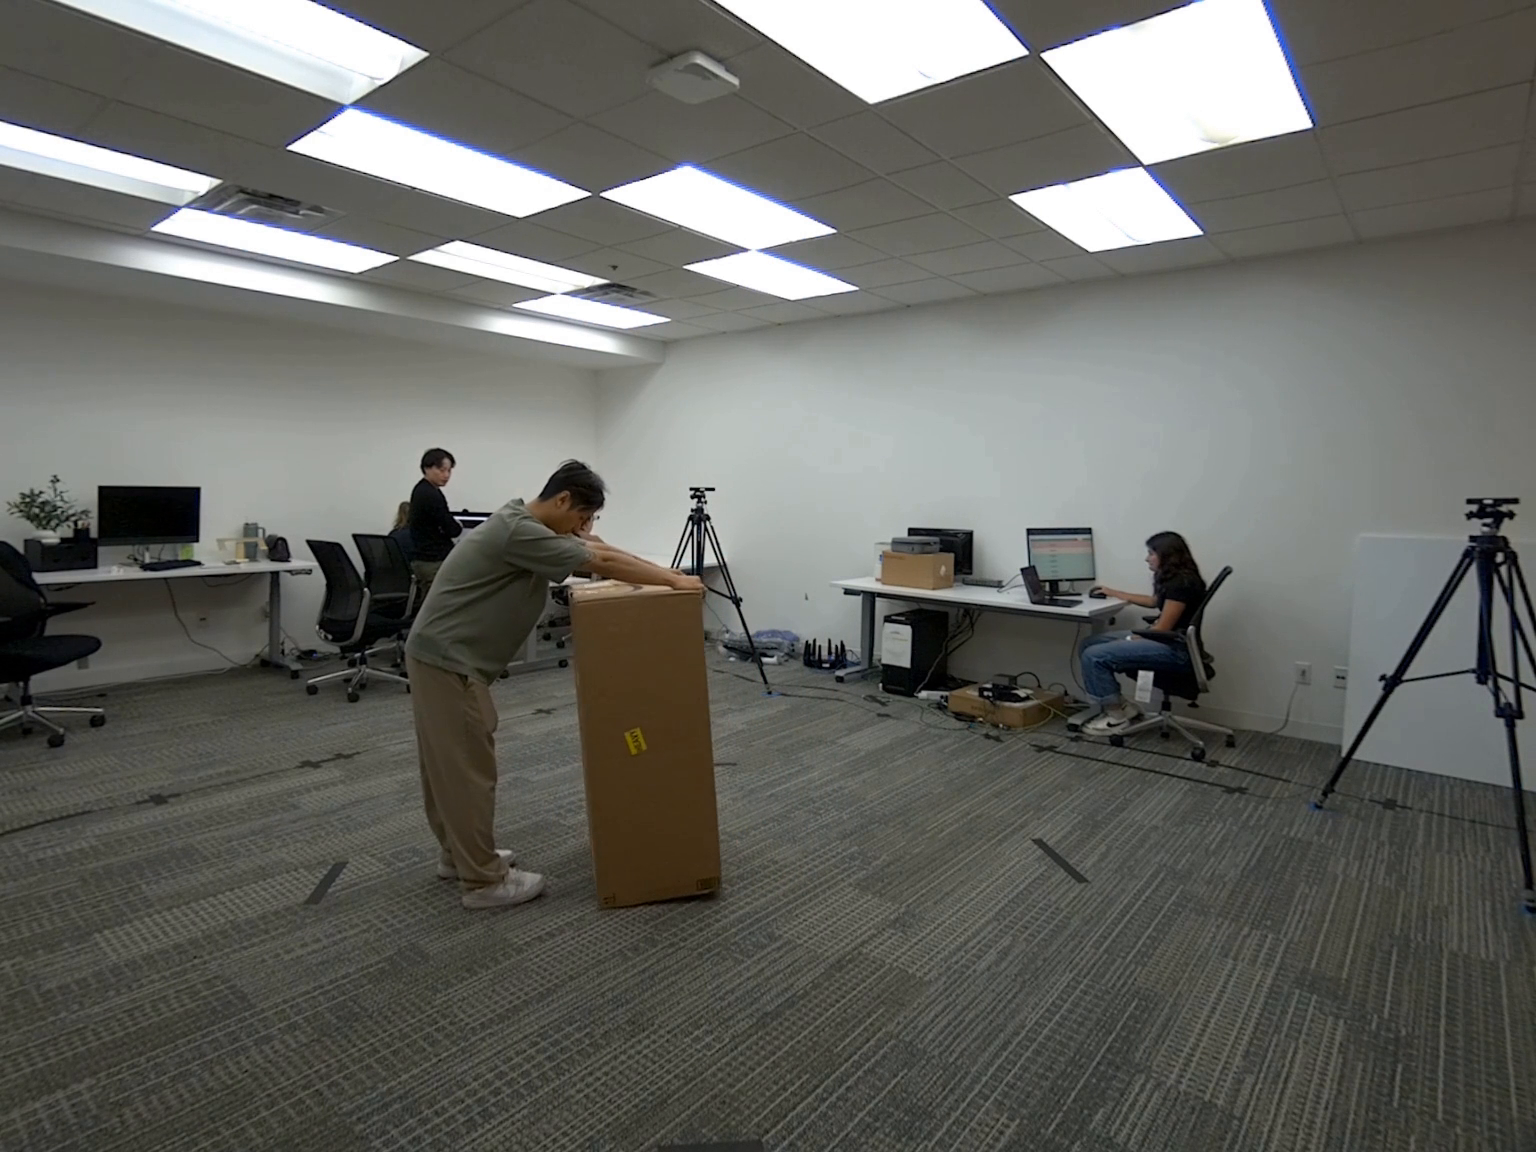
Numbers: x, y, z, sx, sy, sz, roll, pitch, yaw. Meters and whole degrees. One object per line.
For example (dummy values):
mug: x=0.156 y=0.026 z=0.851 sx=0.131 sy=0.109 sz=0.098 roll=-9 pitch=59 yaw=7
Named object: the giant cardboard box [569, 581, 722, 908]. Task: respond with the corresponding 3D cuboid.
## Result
giant cardboard box: x=-0.468 y=0.541 z=3.073 sx=0.421 sy=1.022 sz=0.587 roll=-4 pitch=4 yaw=-13
